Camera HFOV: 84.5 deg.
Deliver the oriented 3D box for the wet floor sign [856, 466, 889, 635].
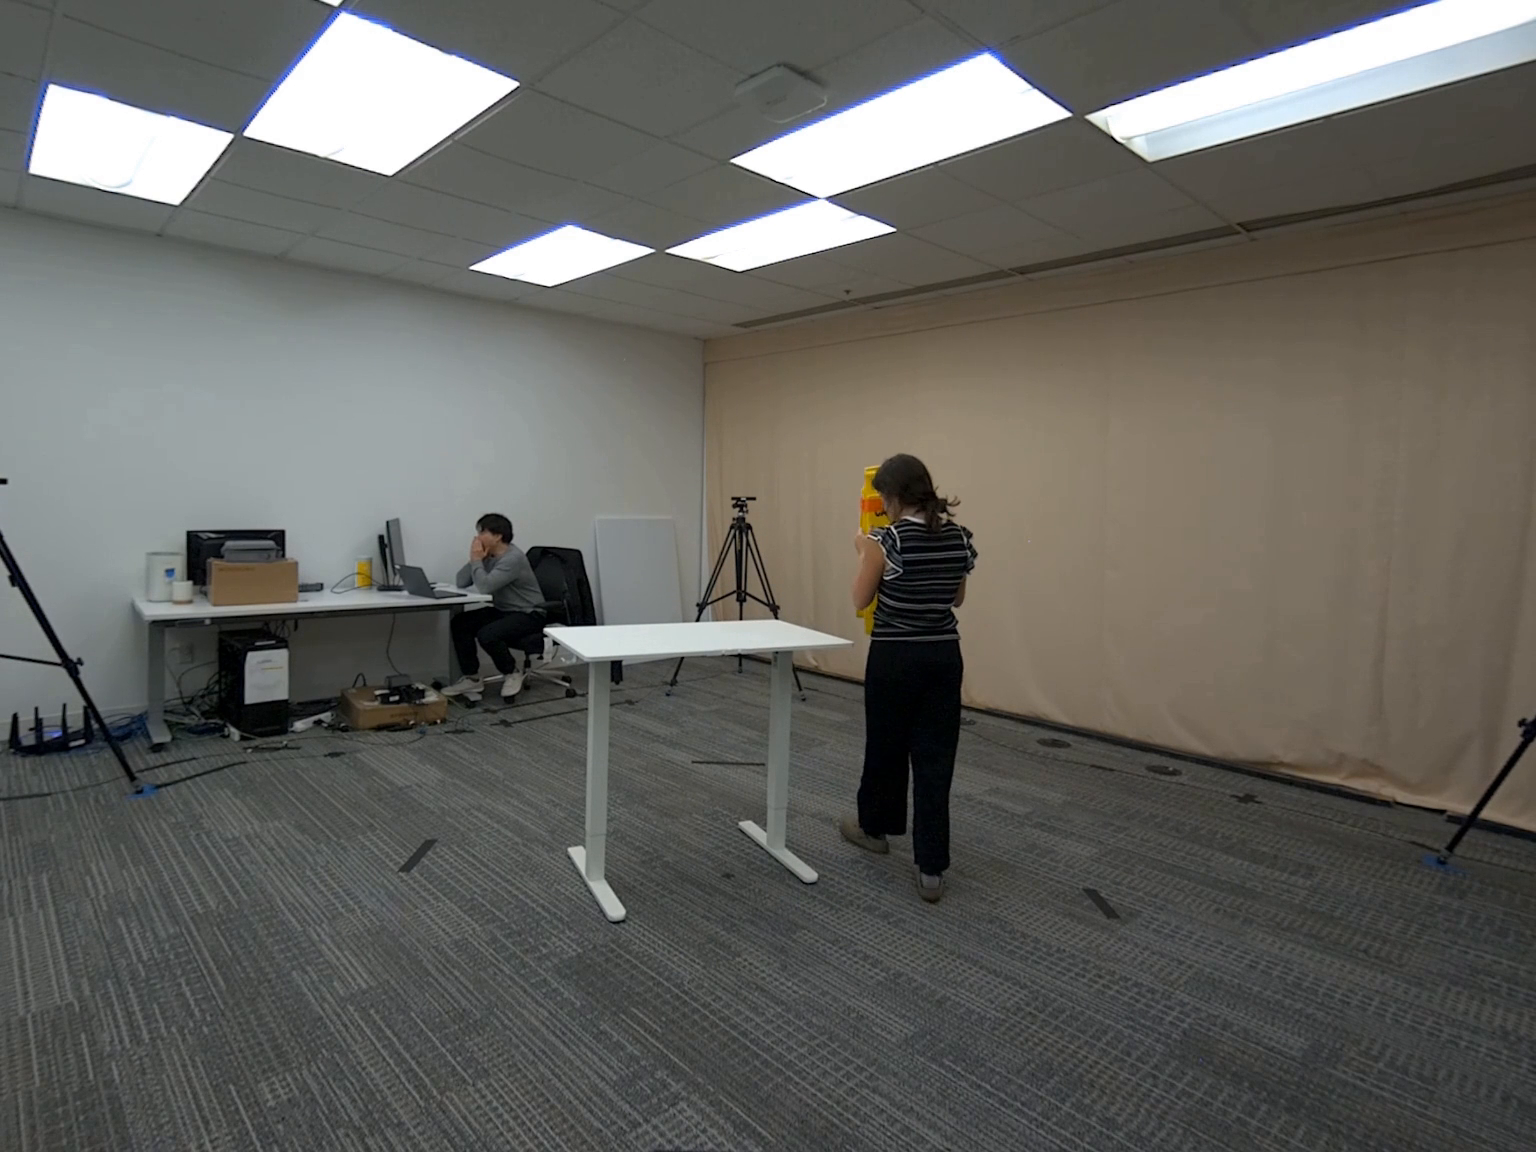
[{"bbox_3d":[0.495,-0.117,3.368,0.282,0.640,0.292,-4,11,1],"label":"wet floor sign"}]
